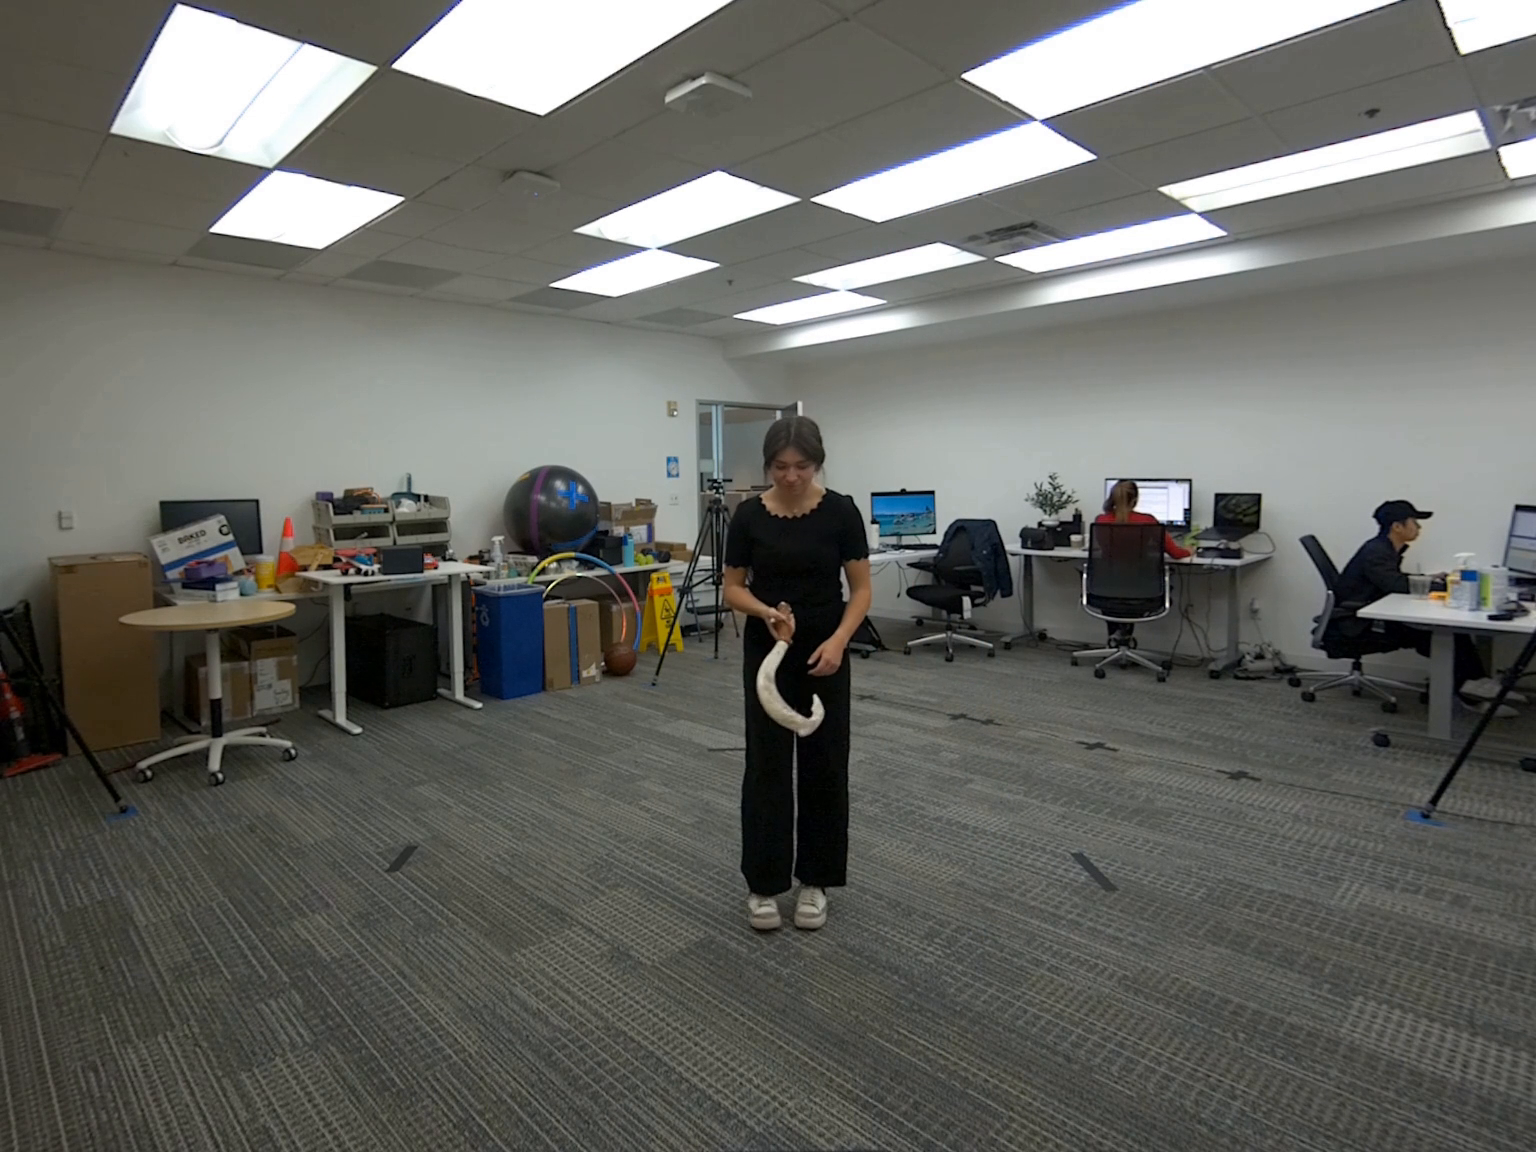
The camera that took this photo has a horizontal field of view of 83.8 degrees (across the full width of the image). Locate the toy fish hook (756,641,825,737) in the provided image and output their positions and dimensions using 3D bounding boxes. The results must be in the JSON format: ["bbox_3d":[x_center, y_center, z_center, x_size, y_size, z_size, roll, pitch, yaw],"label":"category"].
[{"bbox_3d":[0.058,0.257,2.430,0.048,0.220,0.516,-42,19,26],"label":"toy fish hook"}]
